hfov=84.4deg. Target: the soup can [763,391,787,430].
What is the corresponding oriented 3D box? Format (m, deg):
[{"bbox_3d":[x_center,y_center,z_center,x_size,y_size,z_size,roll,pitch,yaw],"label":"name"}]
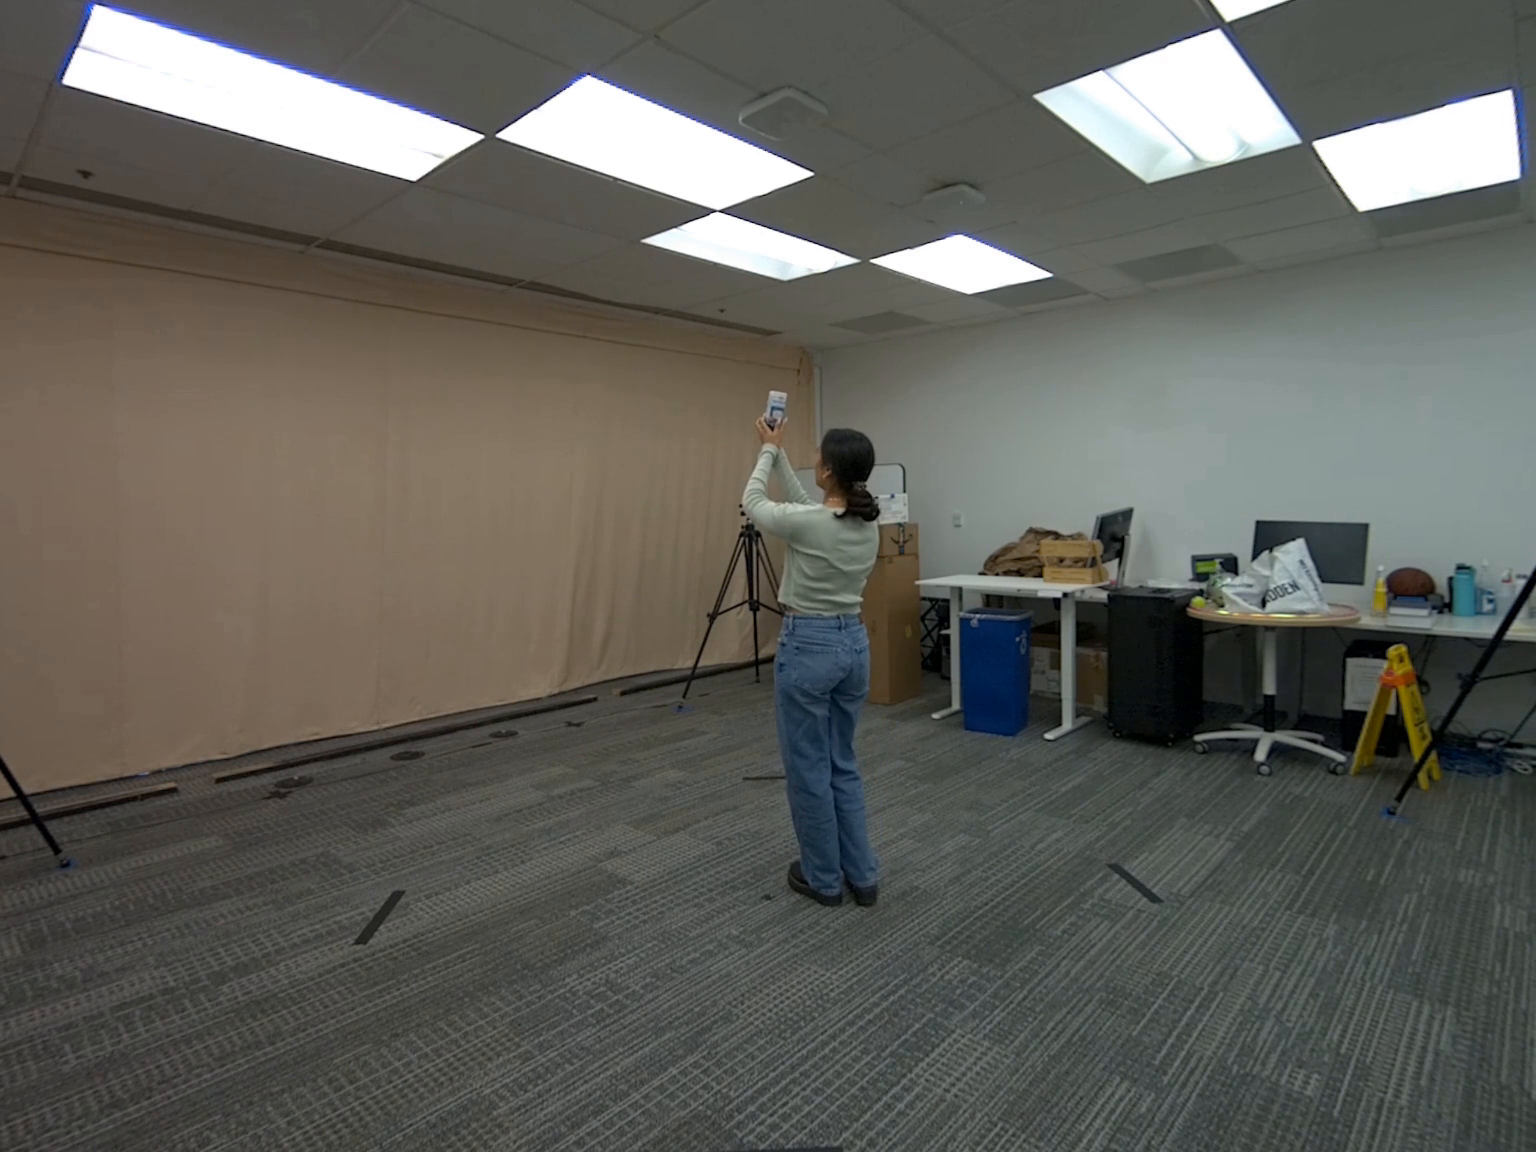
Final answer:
[{"bbox_3d":[0.029,-0.619,3.130,0.067,0.121,0.067,8,7,-3],"label":"soup can"}]
